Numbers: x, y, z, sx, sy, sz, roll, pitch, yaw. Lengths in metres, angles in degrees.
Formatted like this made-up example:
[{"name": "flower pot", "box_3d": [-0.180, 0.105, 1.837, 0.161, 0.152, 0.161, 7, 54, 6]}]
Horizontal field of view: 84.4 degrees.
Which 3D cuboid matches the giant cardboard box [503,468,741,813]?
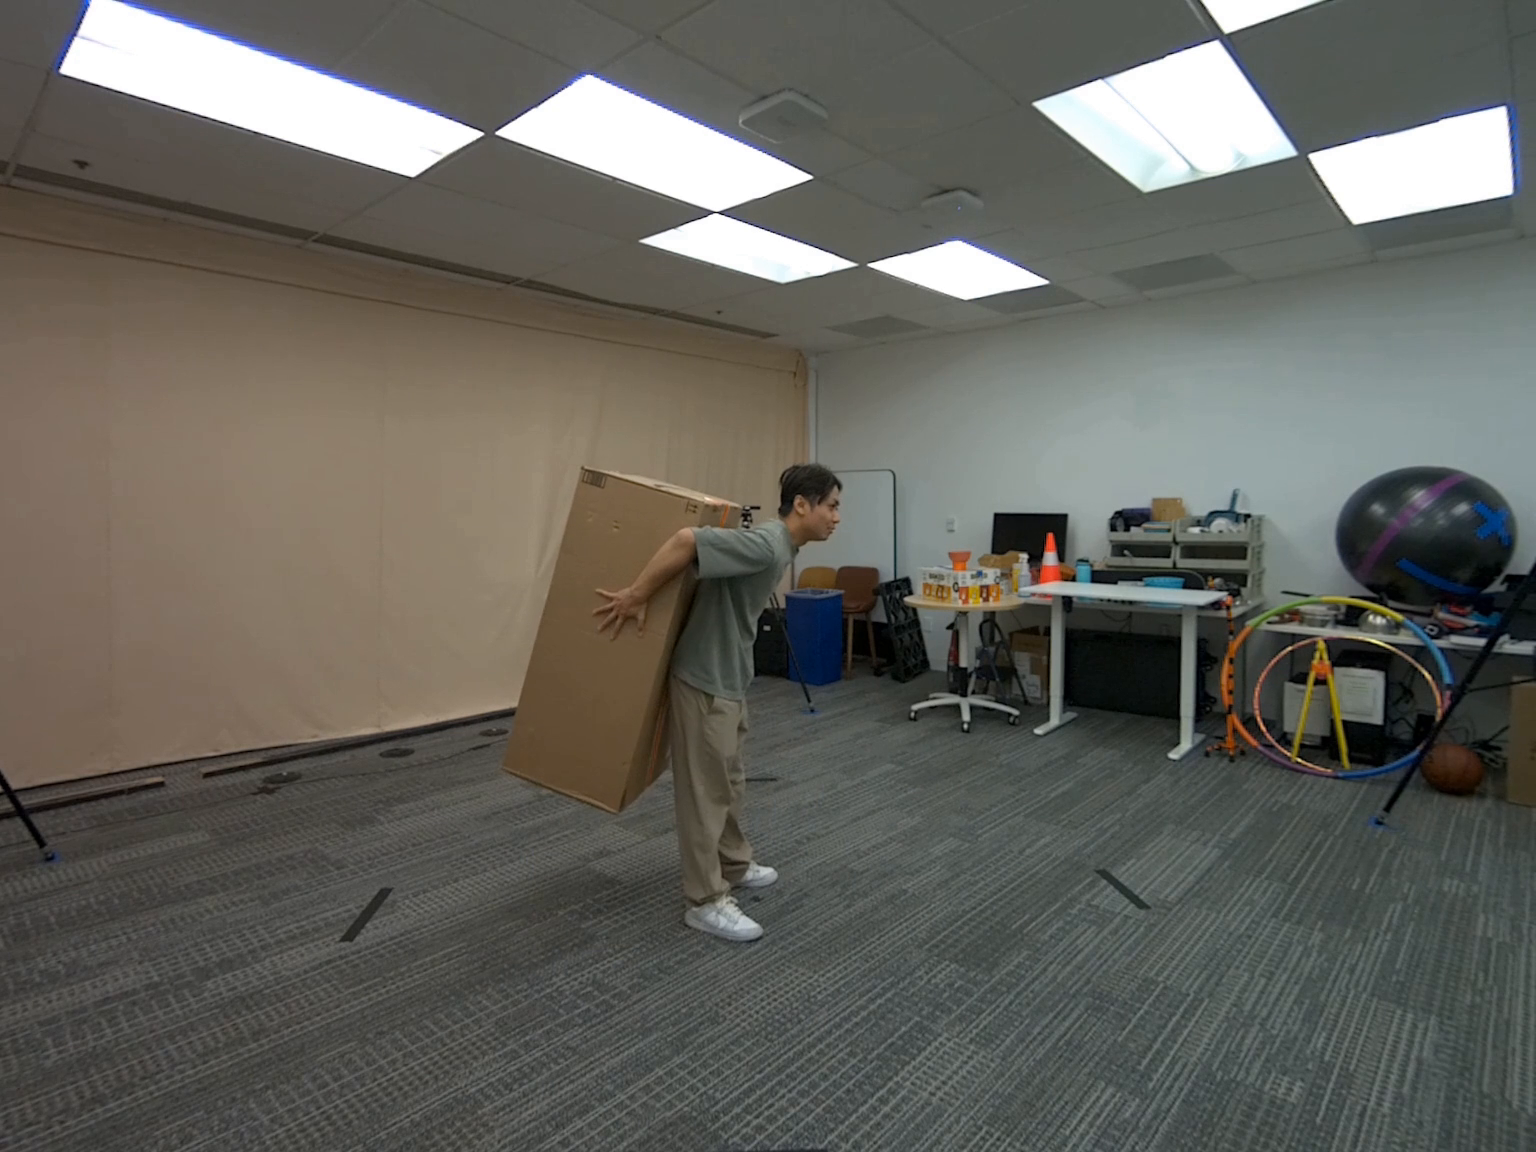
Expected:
[{"name": "giant cardboard box", "box_3d": [-0.479, 0.192, 2.906, 0.432, 1.024, 0.570, 16, 5, 10]}]
